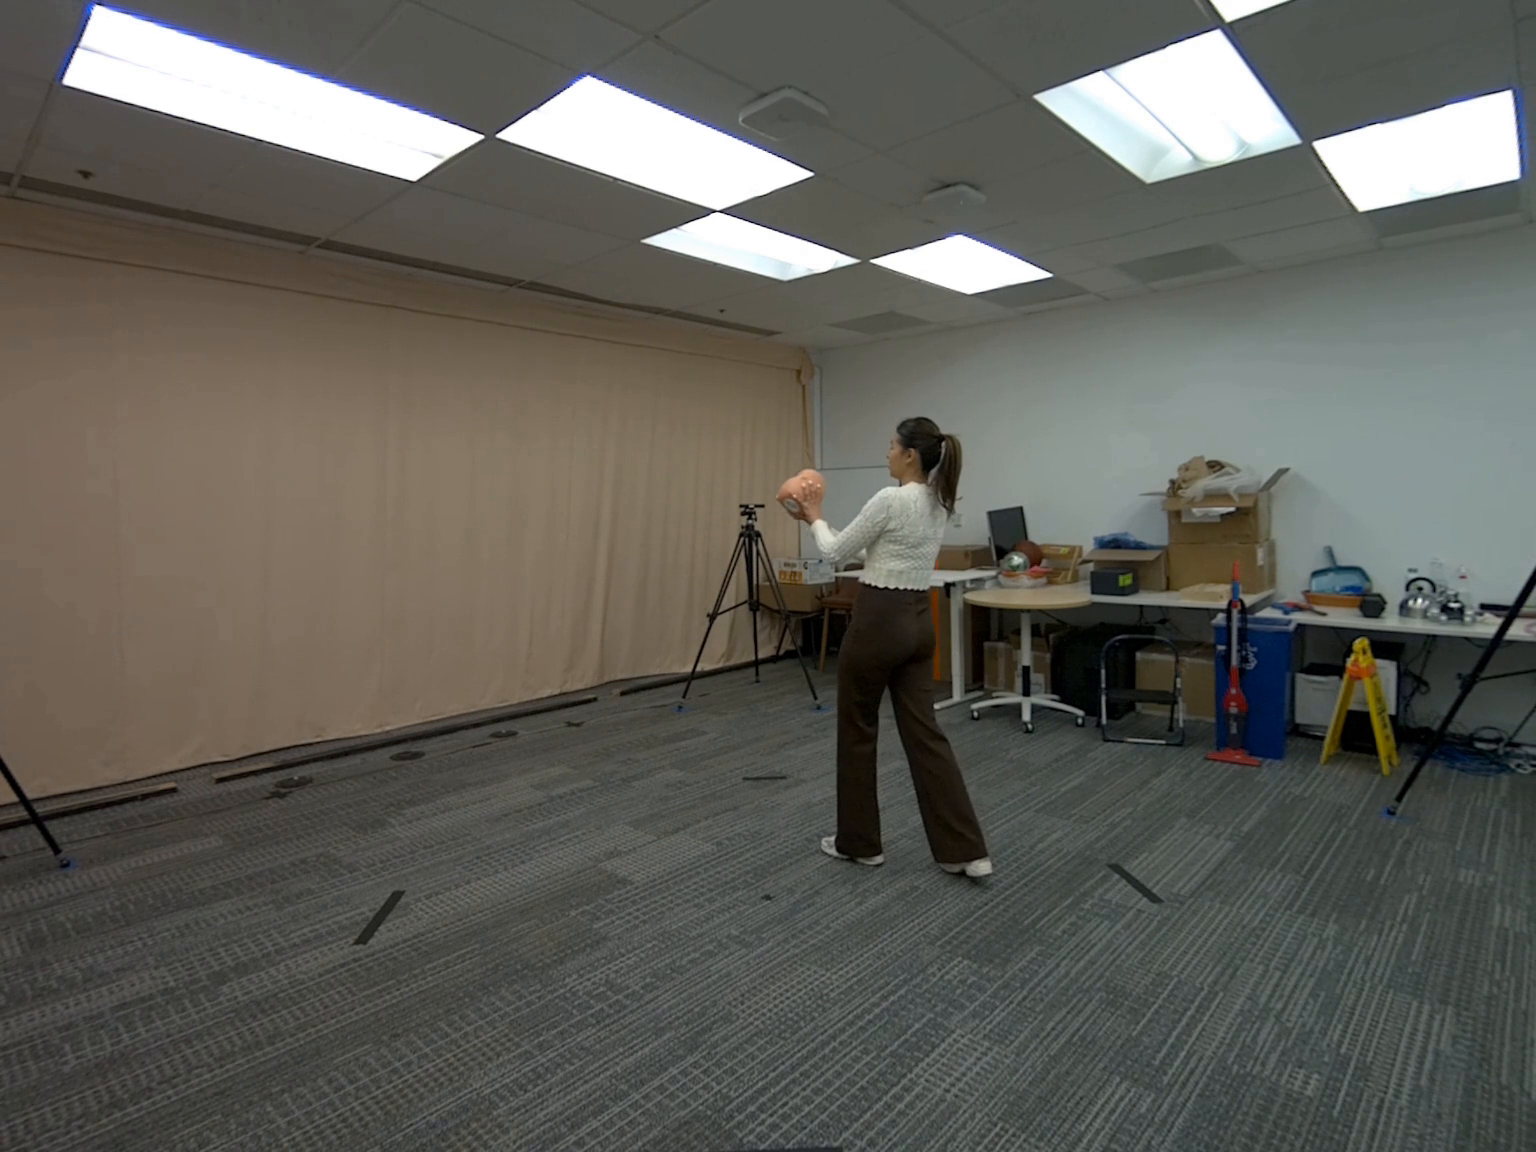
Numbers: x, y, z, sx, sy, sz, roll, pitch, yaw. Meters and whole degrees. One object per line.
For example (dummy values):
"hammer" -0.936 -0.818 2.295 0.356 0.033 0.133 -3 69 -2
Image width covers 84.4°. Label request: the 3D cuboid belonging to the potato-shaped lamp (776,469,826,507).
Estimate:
"potato-shaped lamp" 0.156 -0.358 3.509 0.168 0.198 0.168 35 -25 -16
